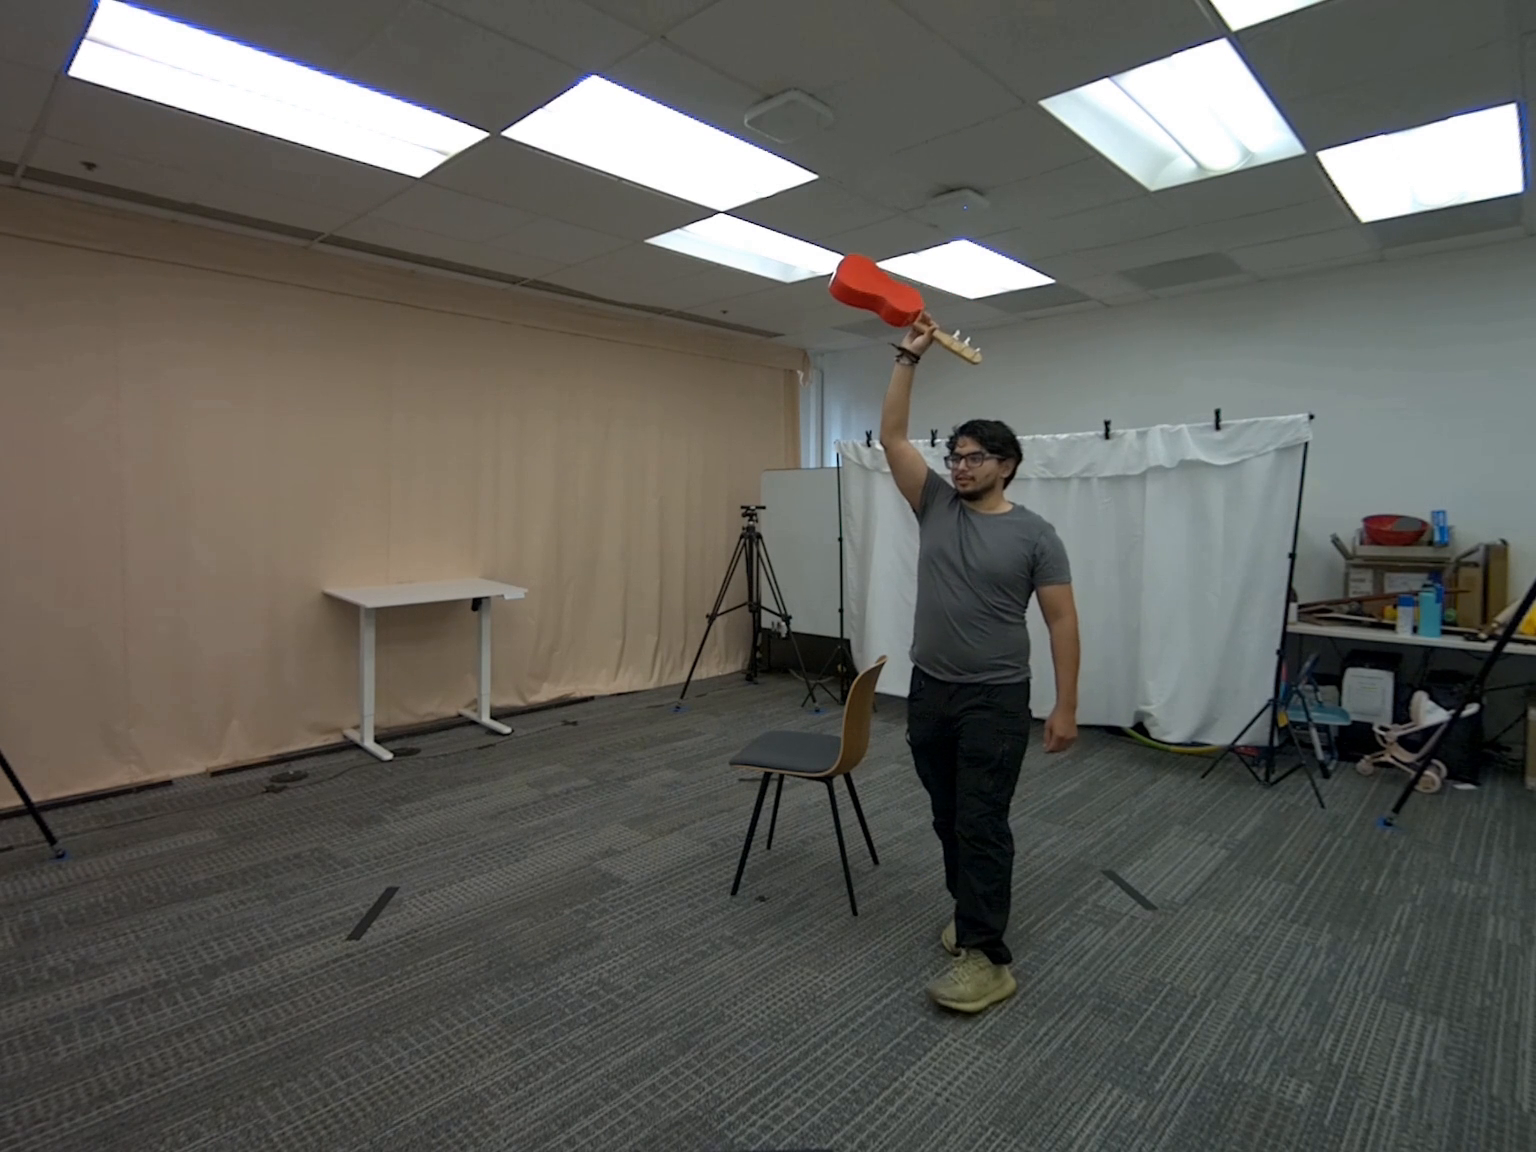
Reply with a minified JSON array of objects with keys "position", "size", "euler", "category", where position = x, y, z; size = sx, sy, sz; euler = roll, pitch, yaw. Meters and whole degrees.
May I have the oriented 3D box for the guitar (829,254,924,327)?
[{"position":[0.426,-0.794,2.480],"size":[0.496,0.194,0.070],"euler":[24,-41,-2],"category":"guitar"}]
